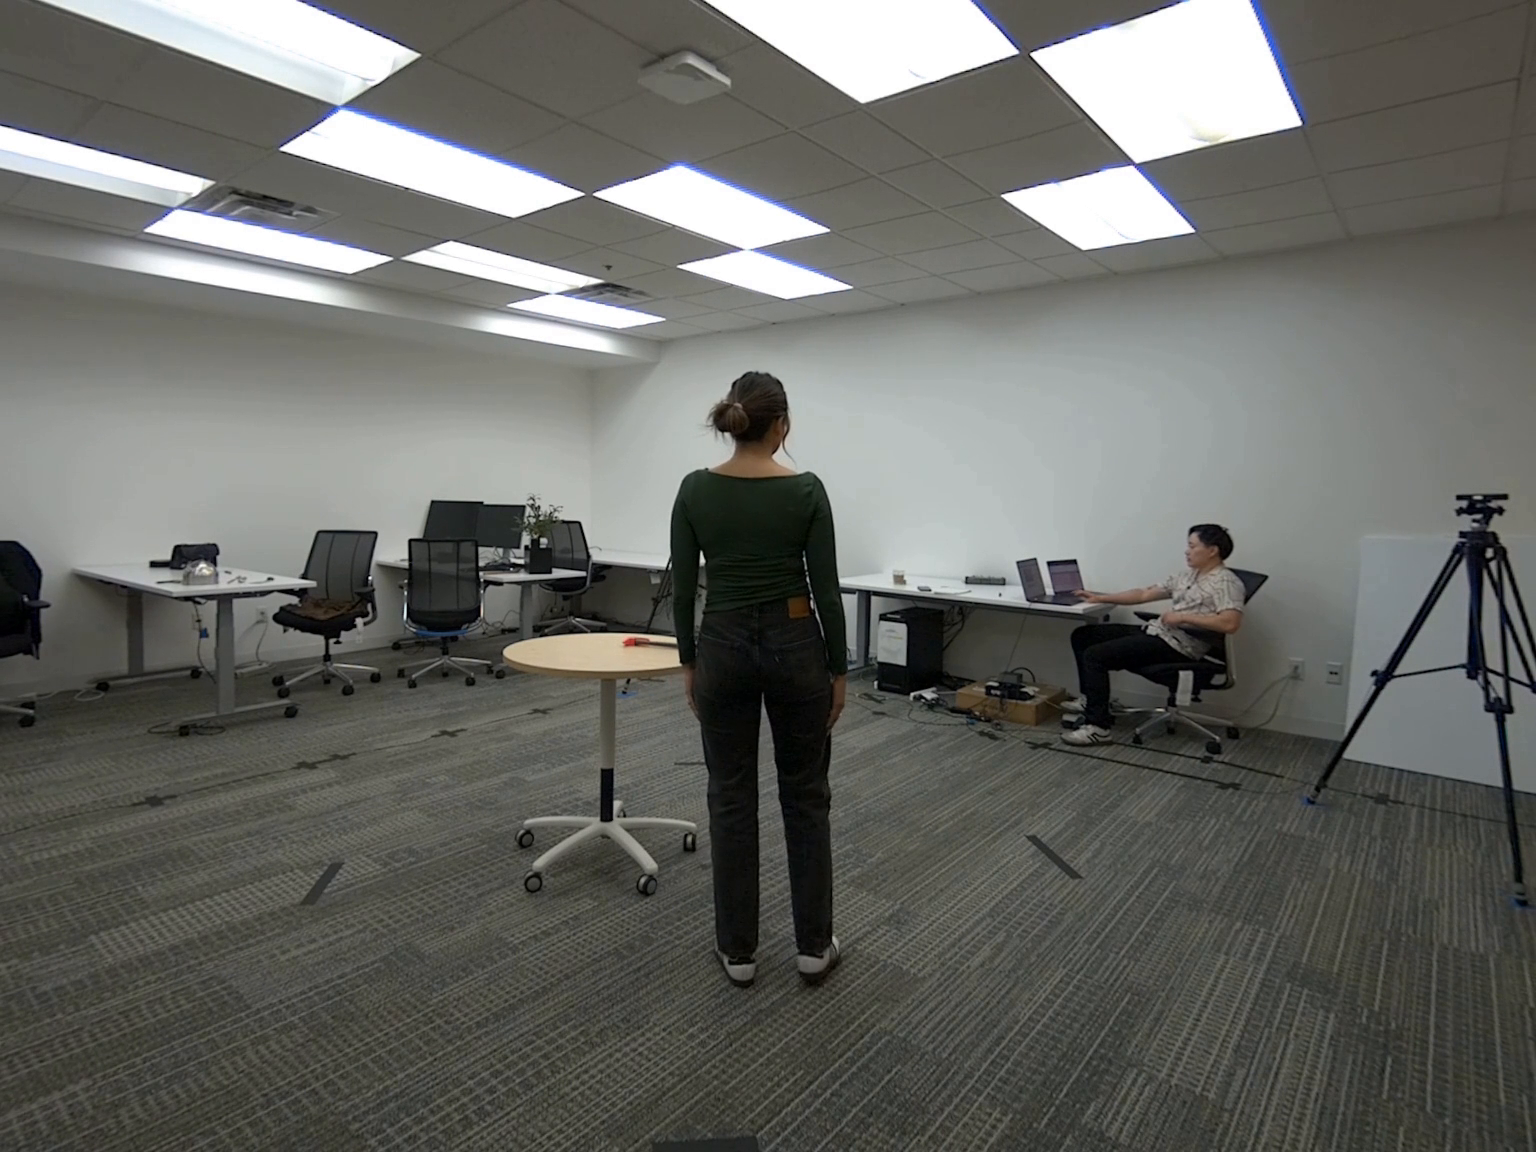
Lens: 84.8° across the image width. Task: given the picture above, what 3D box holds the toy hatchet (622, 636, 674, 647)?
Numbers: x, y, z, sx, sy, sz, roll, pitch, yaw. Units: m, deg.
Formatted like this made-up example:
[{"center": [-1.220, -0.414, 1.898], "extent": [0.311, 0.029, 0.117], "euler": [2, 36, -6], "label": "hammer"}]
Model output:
[{"center": [-0.435, 0.256, 3.272], "extent": [0.271, 0.029, 0.130], "euler": [3, 1, 3], "label": "toy hatchet"}]
